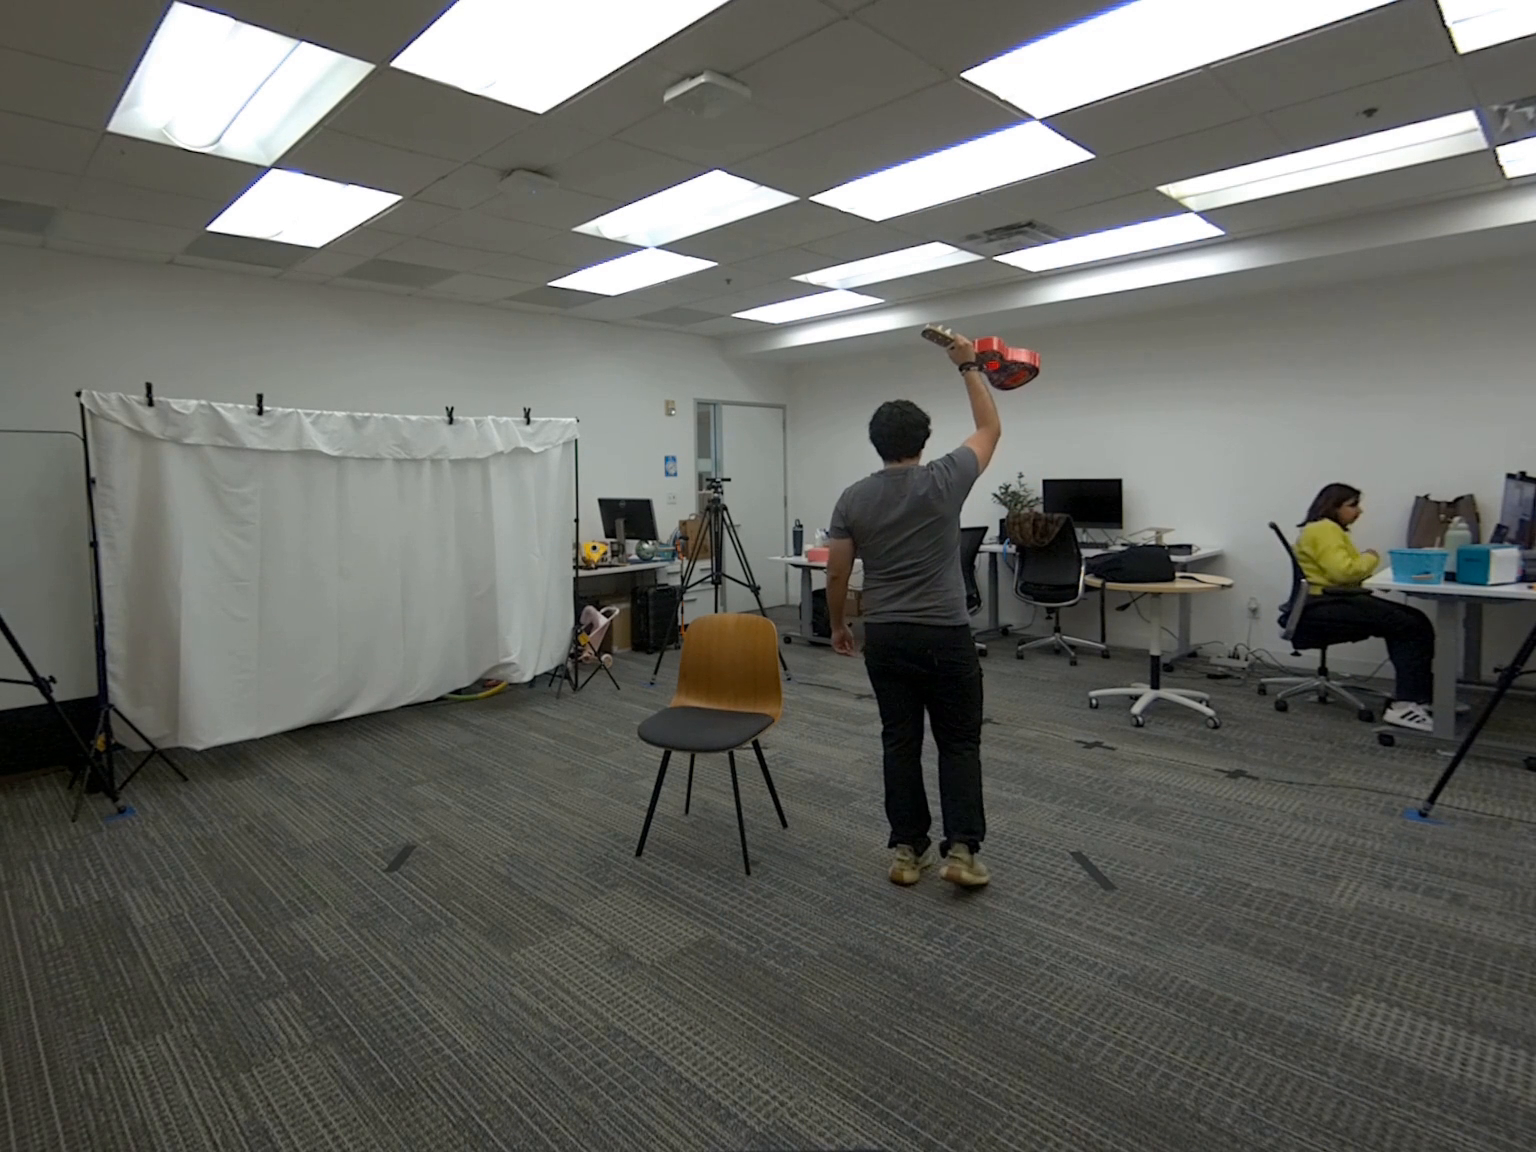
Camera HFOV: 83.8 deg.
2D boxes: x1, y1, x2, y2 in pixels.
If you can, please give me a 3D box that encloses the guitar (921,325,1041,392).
[{"bbox_3d":[0.784,-0.824,3.093,0.481,0.072,0.196,25,-27,-32],"label":"guitar"}]
